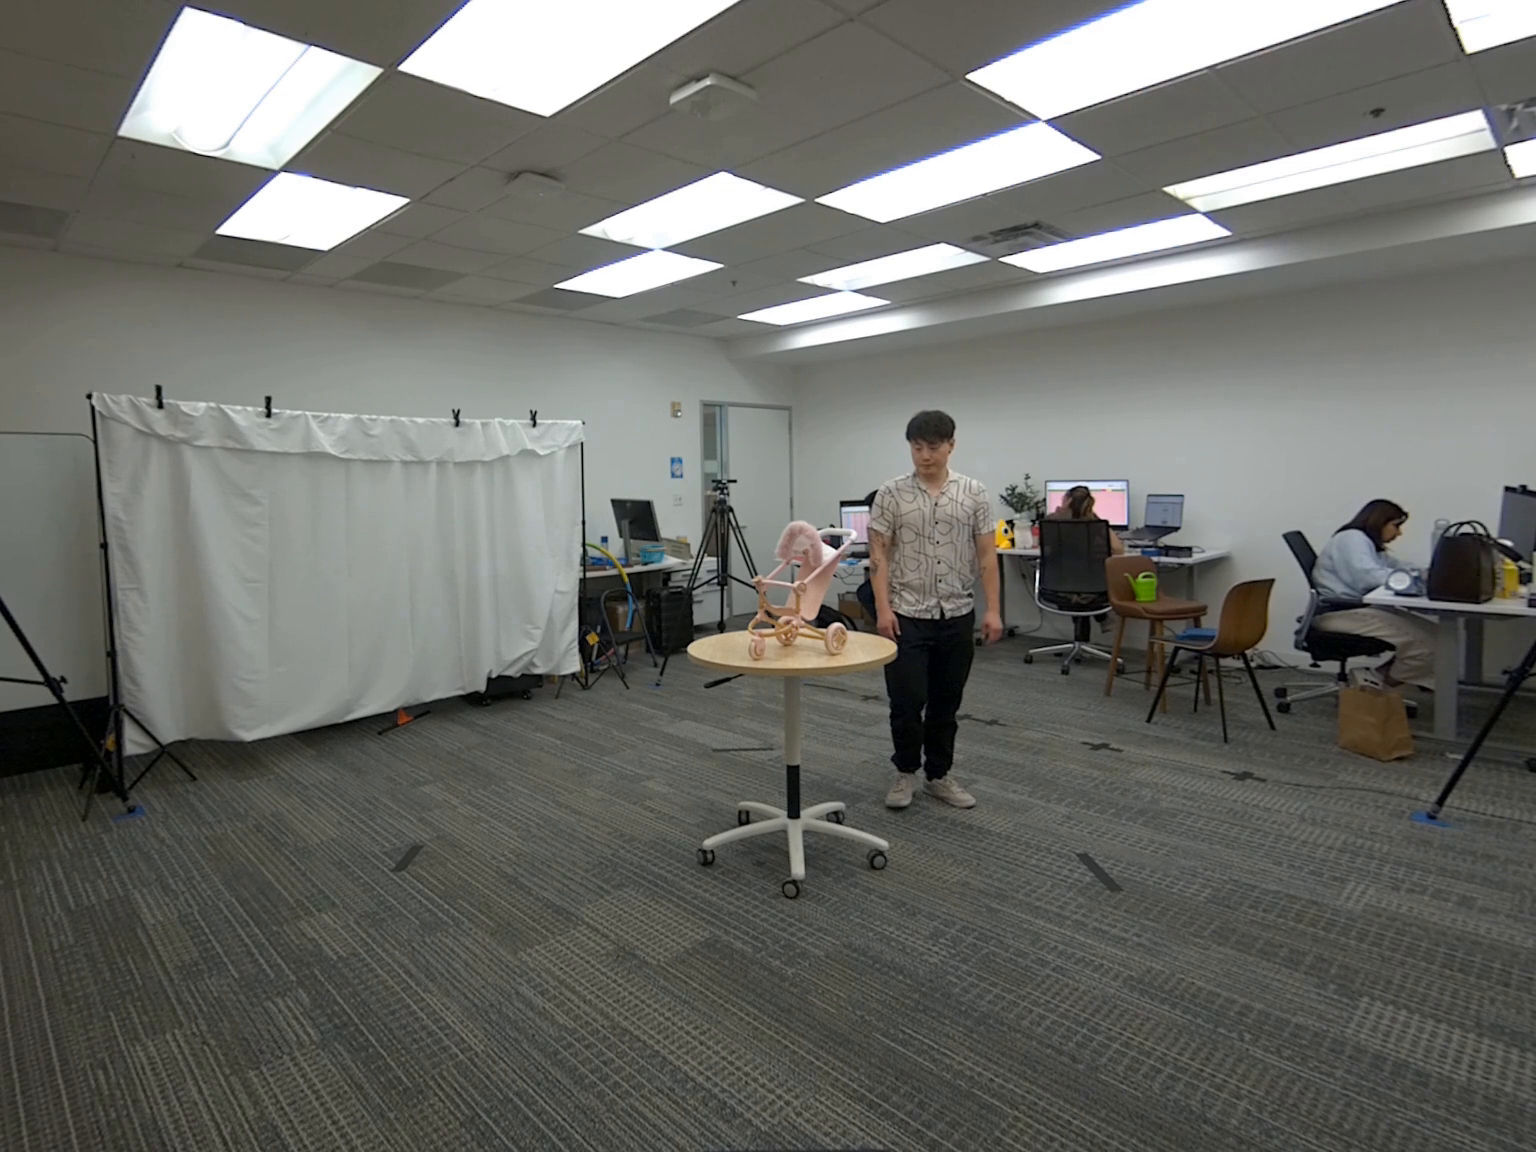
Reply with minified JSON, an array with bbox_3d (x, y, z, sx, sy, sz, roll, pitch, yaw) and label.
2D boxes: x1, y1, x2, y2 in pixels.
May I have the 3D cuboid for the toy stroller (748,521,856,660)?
[{"bbox_3d":[0.104,0.048,3.016,0.330,0.537,0.290,17,-8,-36],"label":"toy stroller"}]
